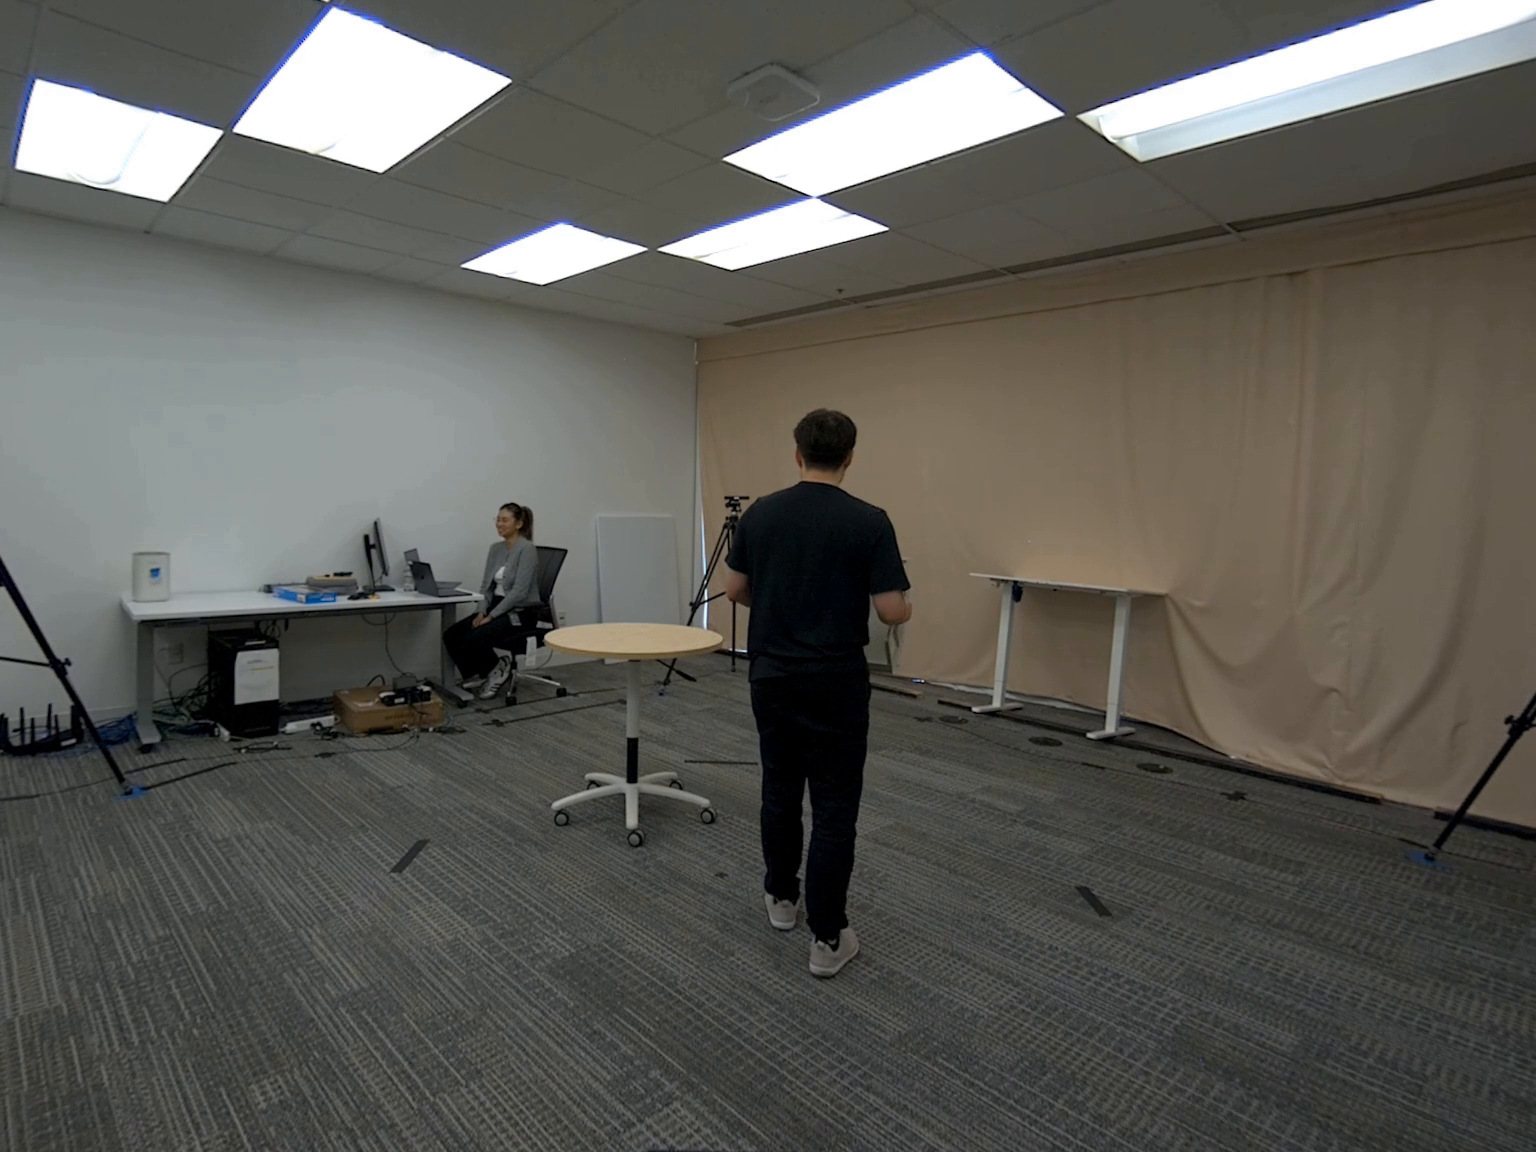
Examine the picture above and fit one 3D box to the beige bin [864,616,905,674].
[{"bbox_3d":[0.268,0.141,2.940,0.430,0.381,0.183,3,-36,25],"label":"beige bin"}]
